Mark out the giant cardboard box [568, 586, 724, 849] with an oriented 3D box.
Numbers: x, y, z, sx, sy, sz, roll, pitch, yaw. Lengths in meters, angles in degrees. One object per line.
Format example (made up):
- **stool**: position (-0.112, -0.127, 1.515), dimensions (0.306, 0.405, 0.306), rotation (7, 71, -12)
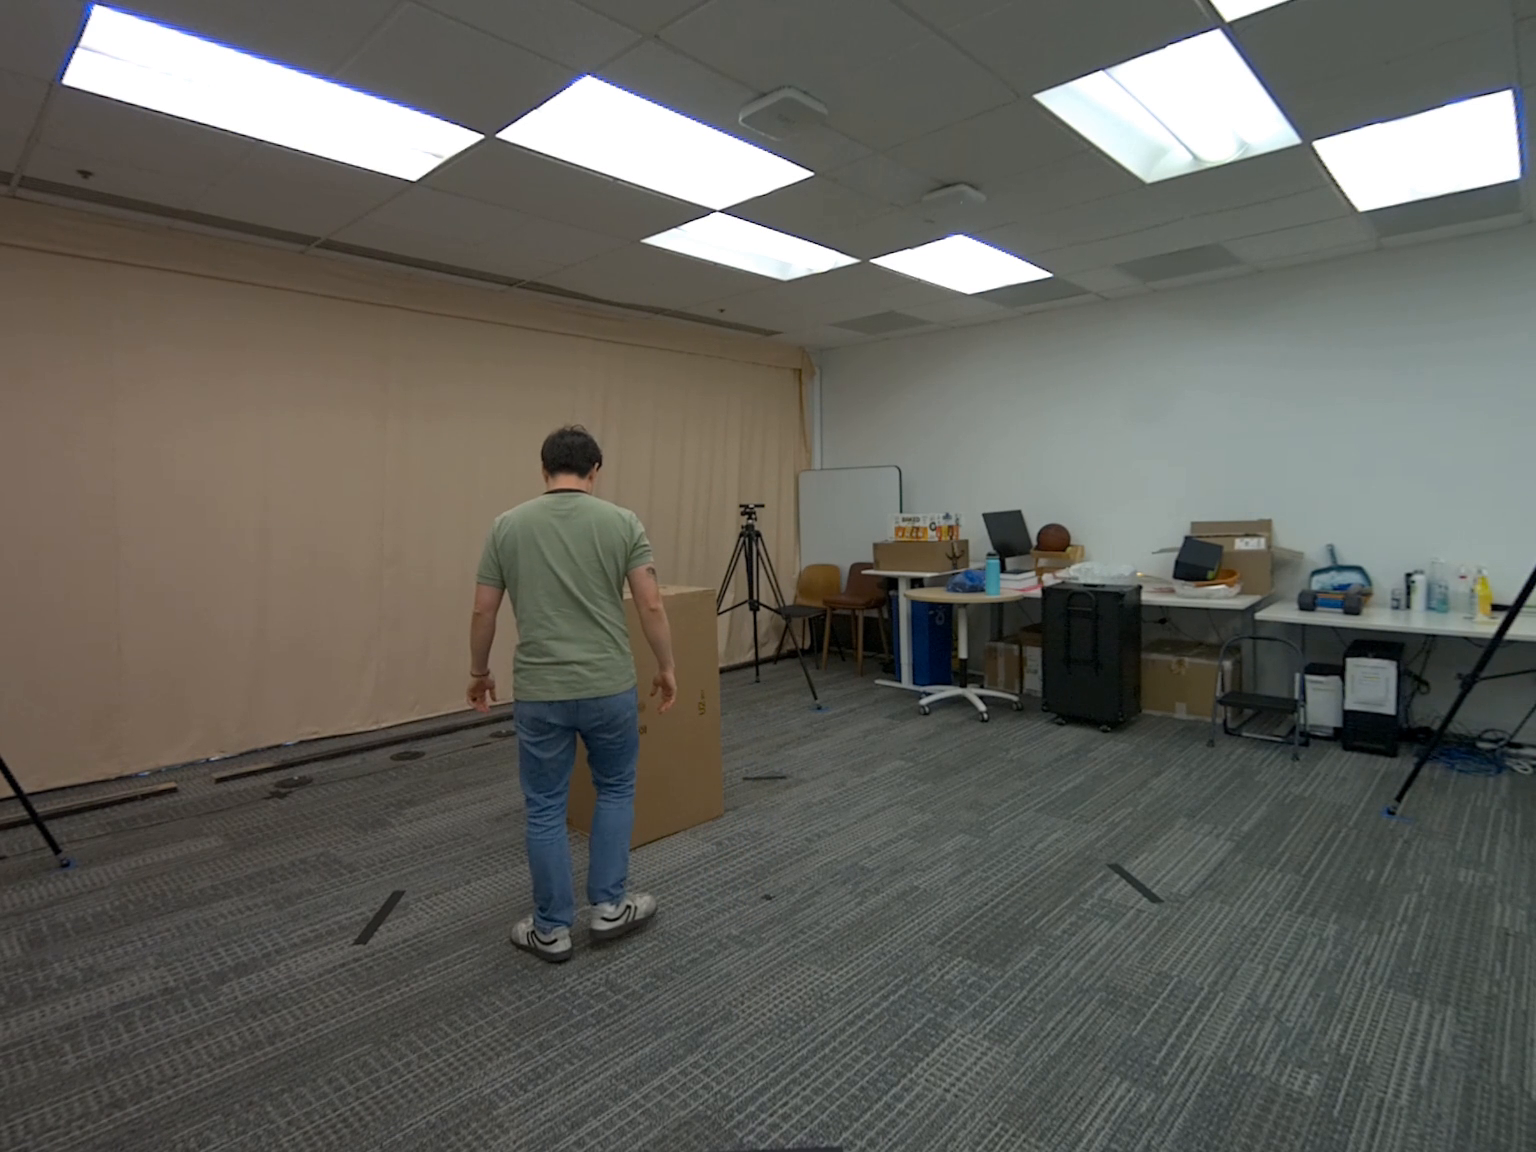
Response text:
- **giant cardboard box**: position (-0.561, 0.579, 3.719), dimensions (0.440, 1.024, 0.560), rotation (1, 4, 45)
